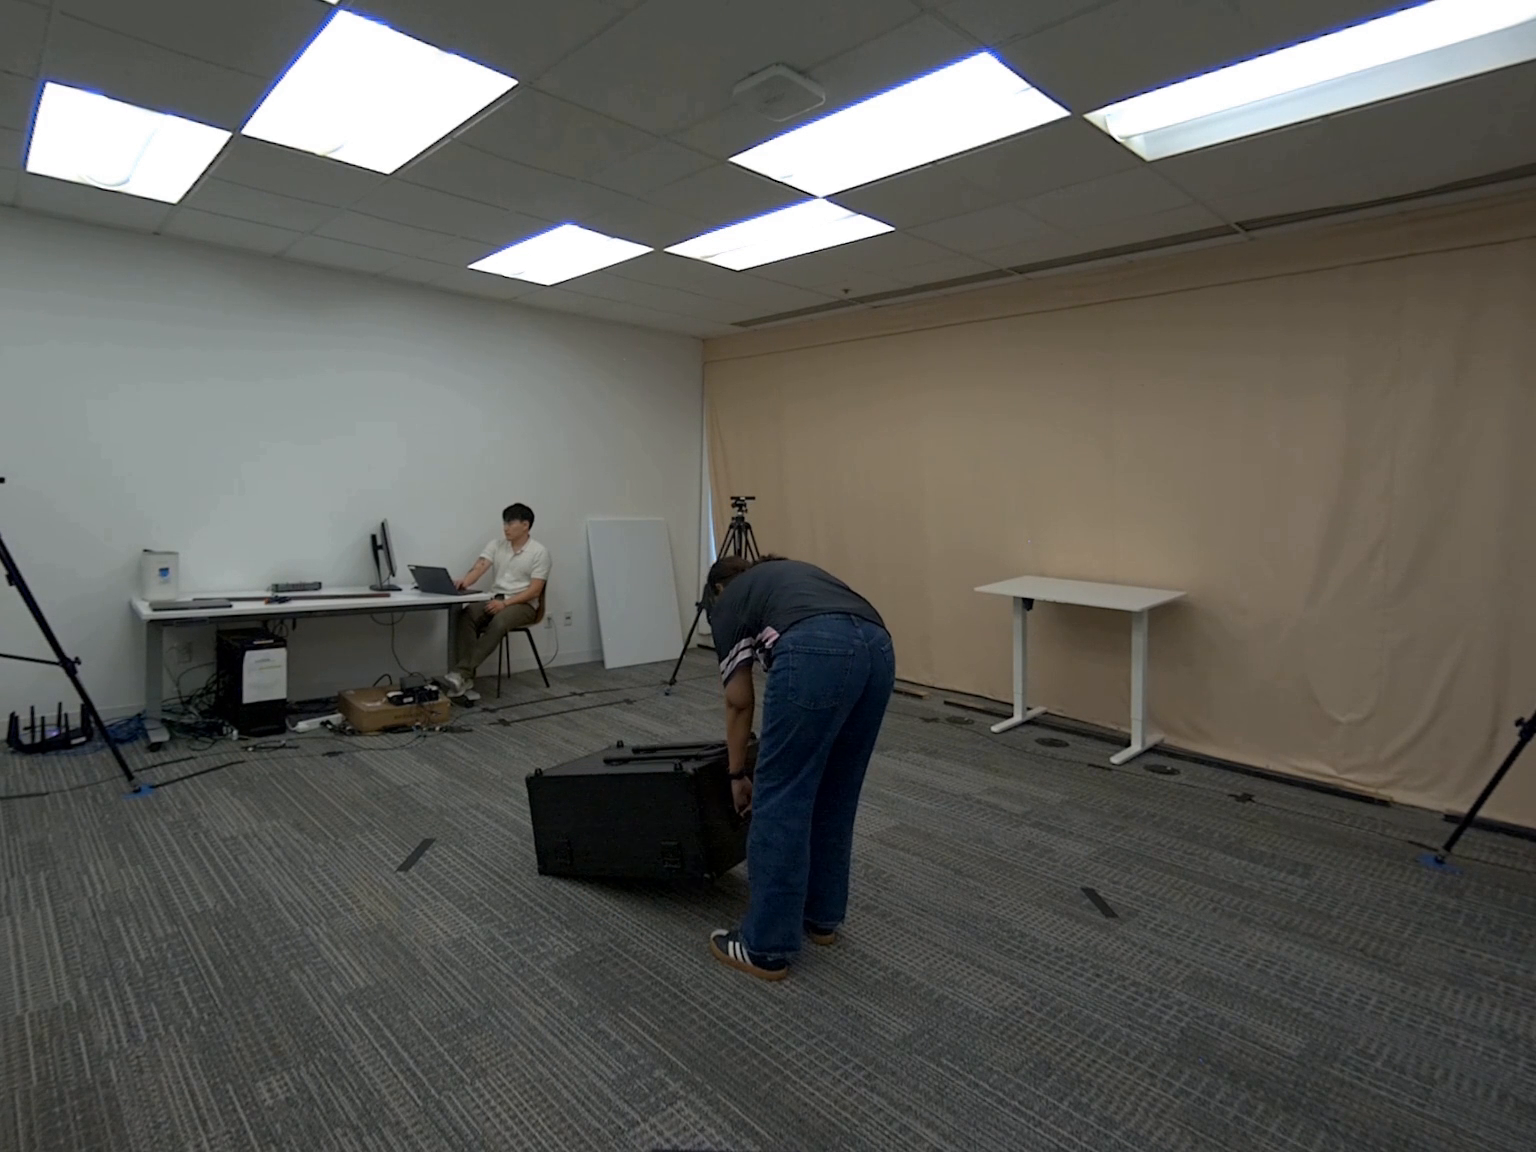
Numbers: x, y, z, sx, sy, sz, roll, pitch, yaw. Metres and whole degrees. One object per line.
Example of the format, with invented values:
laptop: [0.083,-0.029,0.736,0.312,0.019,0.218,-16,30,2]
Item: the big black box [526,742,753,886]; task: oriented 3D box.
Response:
big black box: [-0.456,0.845,3.087,0.883,0.386,0.513,-10,-2,32]
